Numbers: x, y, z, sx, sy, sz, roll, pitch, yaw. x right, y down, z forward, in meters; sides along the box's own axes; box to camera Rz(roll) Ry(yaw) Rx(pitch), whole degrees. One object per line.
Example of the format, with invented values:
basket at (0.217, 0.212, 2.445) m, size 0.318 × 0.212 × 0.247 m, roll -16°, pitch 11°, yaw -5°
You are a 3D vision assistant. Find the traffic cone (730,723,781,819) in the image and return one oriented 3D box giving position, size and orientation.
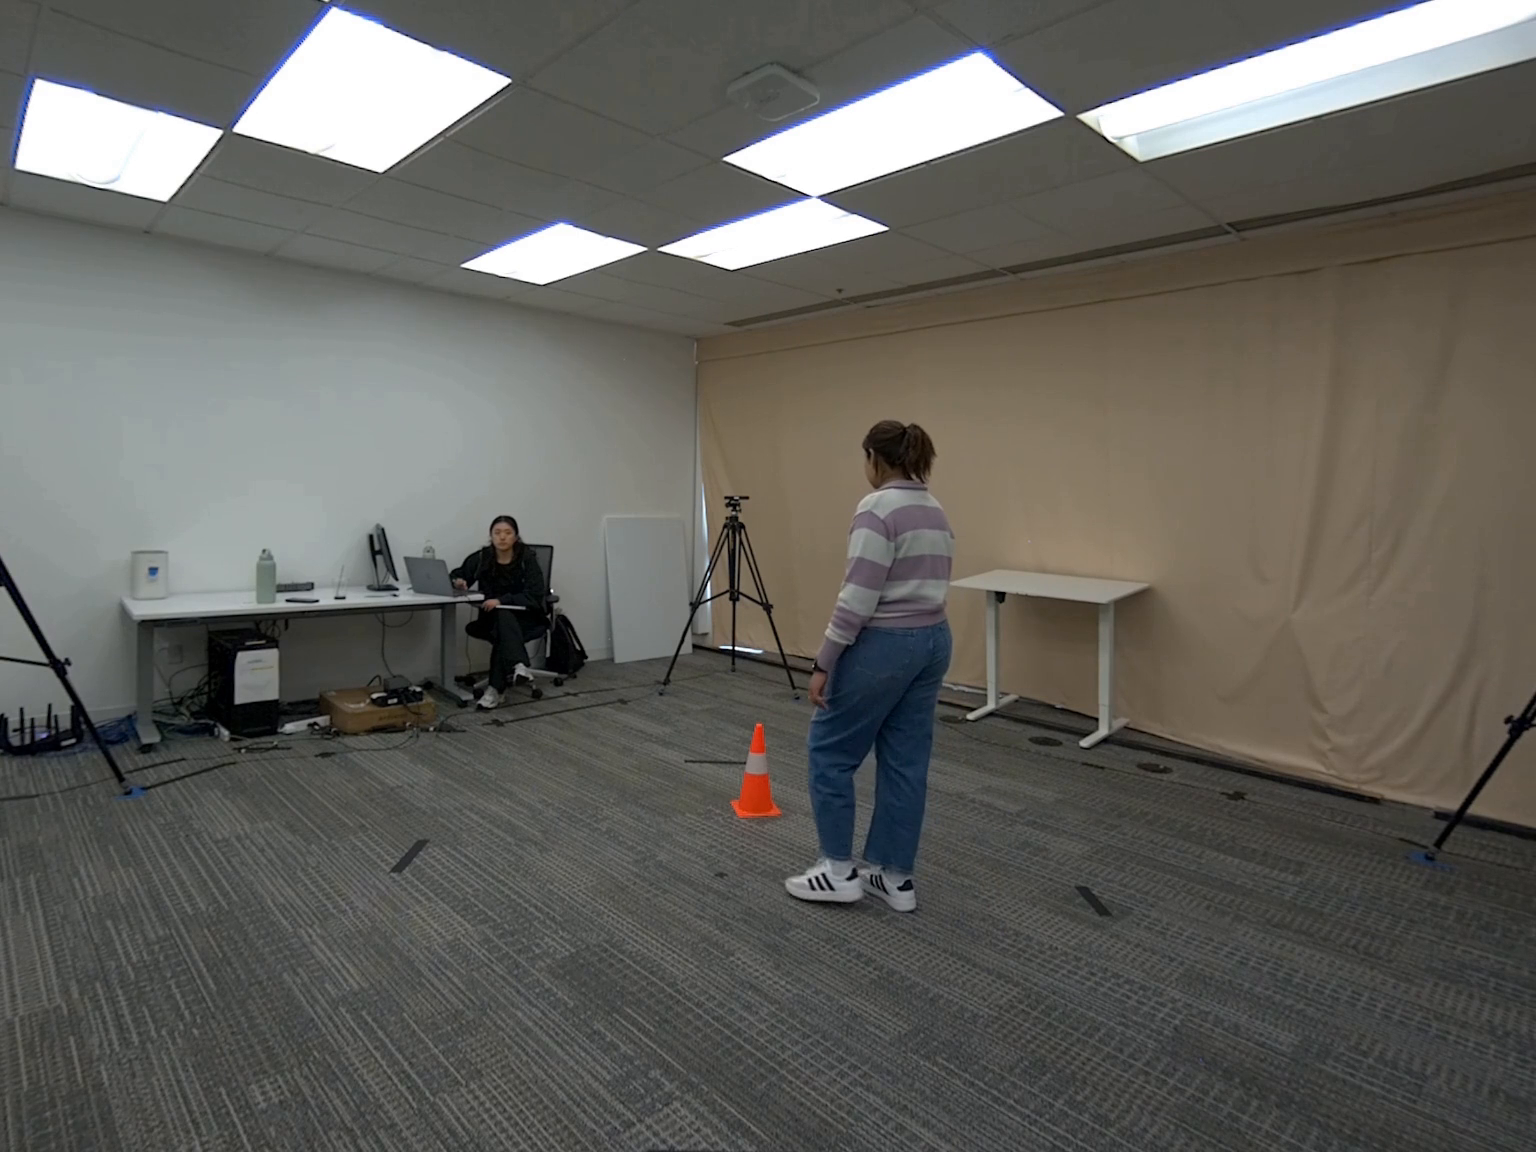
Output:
traffic cone at (-0.054, 0.861, 3.795) m, size 0.203 × 0.383 × 0.206 m, roll 3°, pitch 3°, yaw -14°
